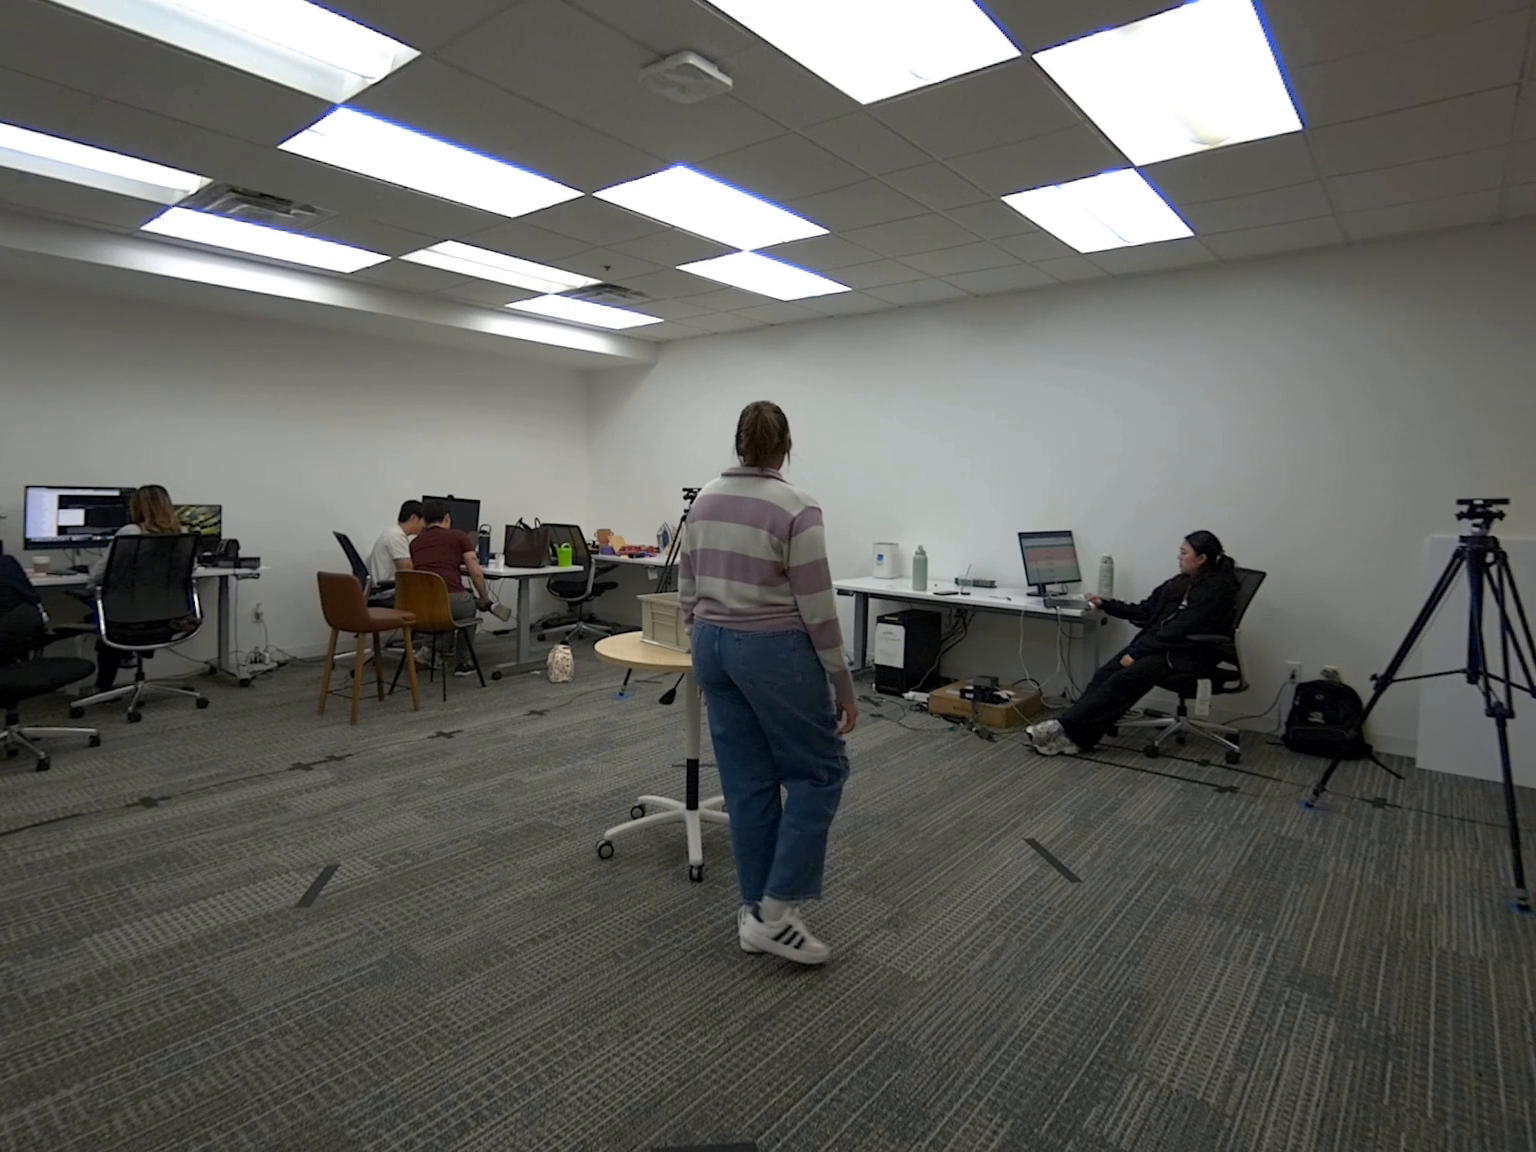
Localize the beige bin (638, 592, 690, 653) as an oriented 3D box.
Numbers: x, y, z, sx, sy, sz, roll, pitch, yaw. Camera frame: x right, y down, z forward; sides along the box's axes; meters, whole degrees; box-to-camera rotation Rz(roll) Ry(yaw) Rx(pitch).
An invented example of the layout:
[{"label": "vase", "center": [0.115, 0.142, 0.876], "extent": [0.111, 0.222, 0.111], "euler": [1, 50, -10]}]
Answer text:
[{"label": "beige bin", "center": [-0.248, 0.168, 3.360], "extent": [0.410, 0.188, 0.390], "euler": [-5, 6, -40]}]
